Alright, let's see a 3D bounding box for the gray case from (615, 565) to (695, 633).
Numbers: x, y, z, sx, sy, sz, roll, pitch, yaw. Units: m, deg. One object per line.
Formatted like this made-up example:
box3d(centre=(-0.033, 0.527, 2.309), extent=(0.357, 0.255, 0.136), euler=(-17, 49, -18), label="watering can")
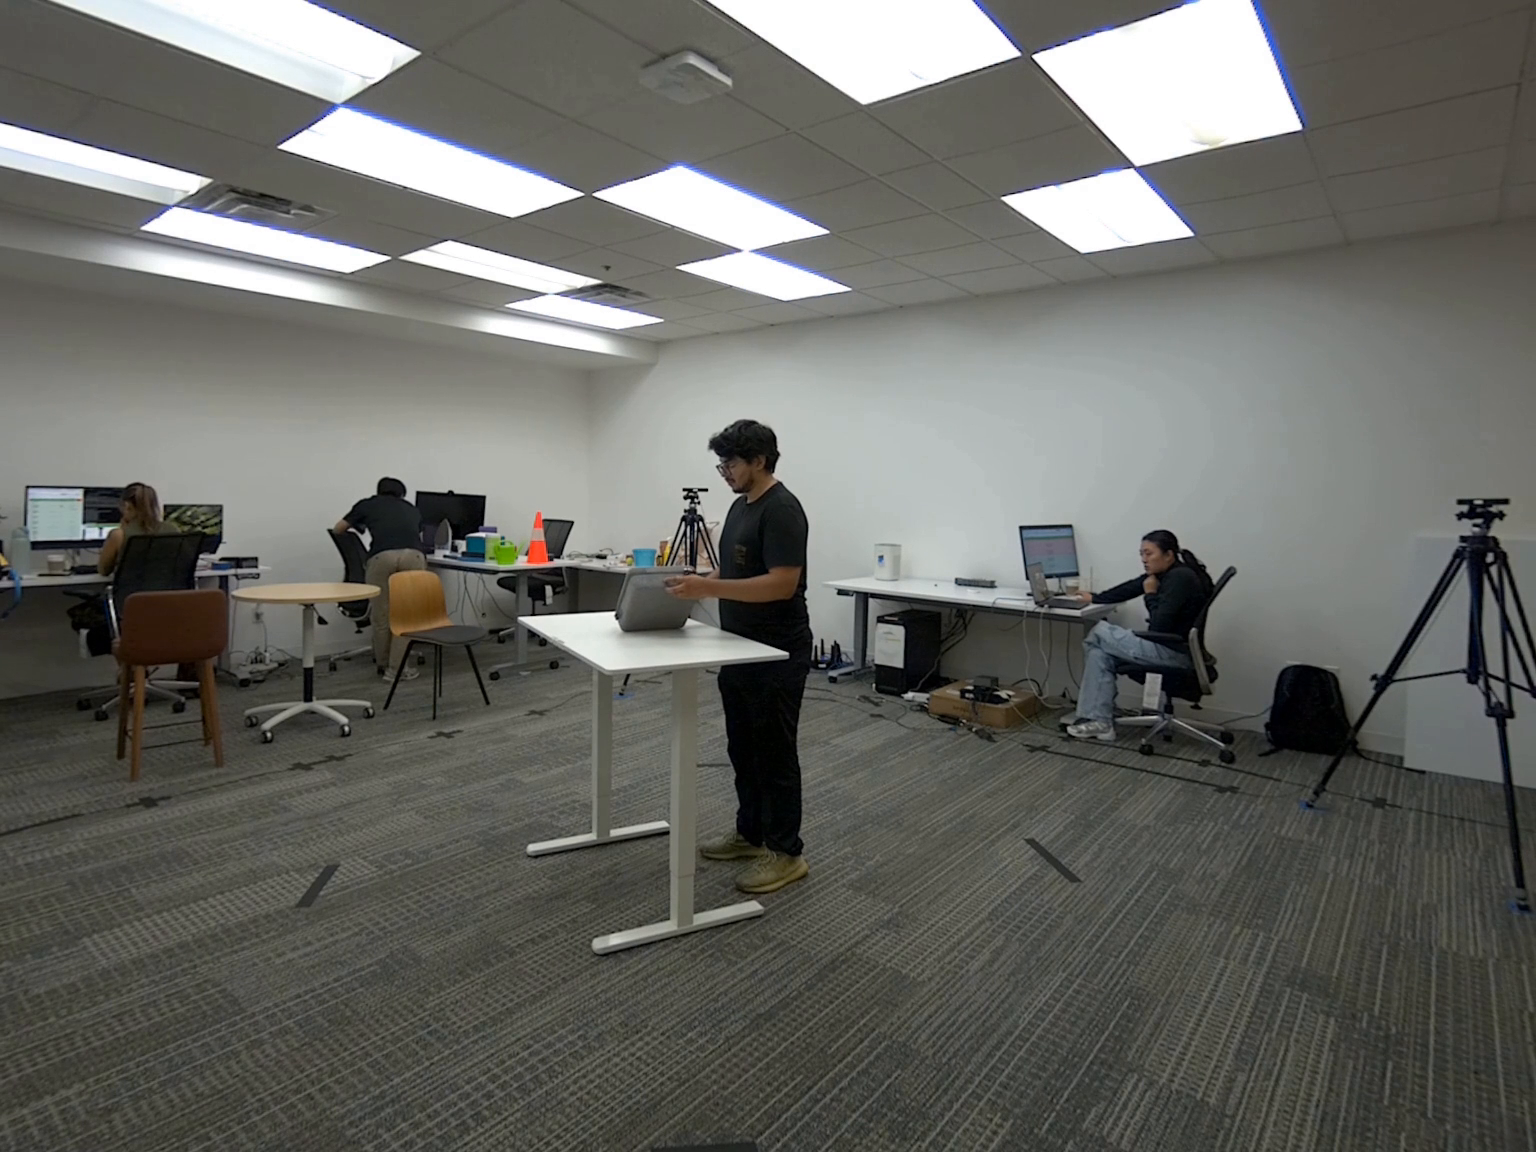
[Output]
box3d(centre=(-0.401, 0.071, 2.981), extent=(0.251, 0.256, 0.108), euler=(0, 37, -23), label="gray case")
